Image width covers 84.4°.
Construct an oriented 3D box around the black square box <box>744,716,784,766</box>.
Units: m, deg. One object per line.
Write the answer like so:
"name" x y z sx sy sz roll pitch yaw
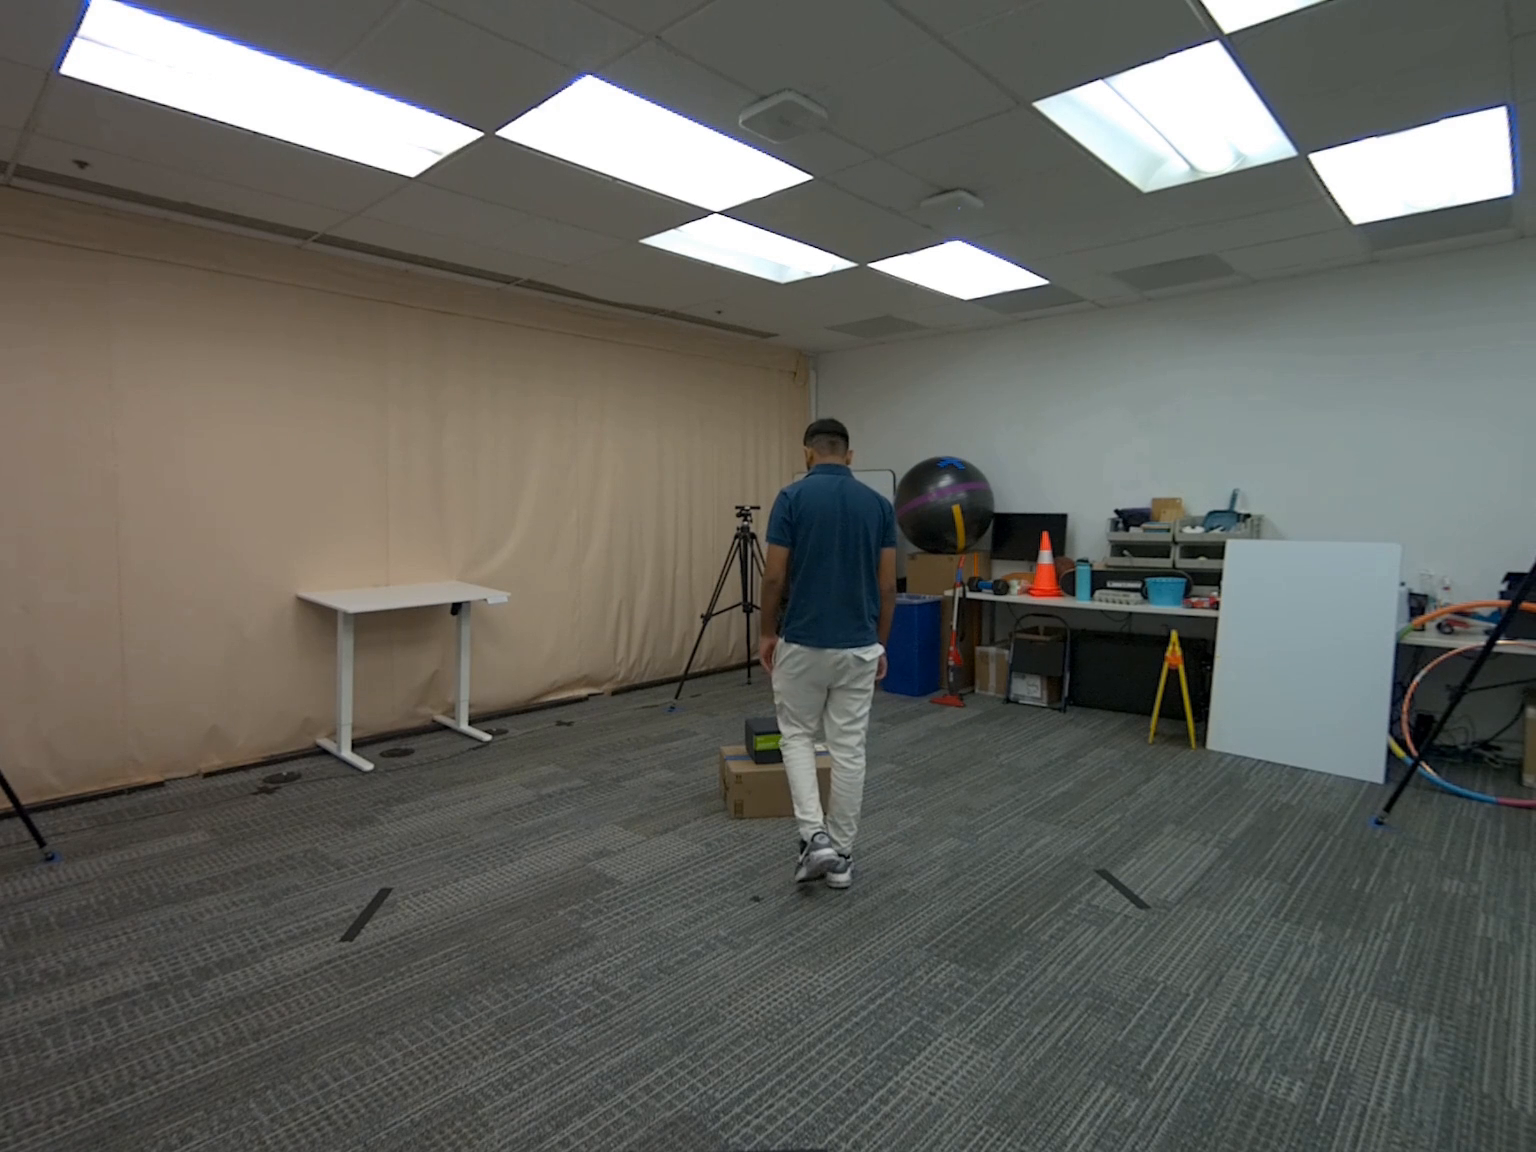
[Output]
"black square box" 0.025 0.763 3.956 0.225 0.155 0.220 -2 6 -12
